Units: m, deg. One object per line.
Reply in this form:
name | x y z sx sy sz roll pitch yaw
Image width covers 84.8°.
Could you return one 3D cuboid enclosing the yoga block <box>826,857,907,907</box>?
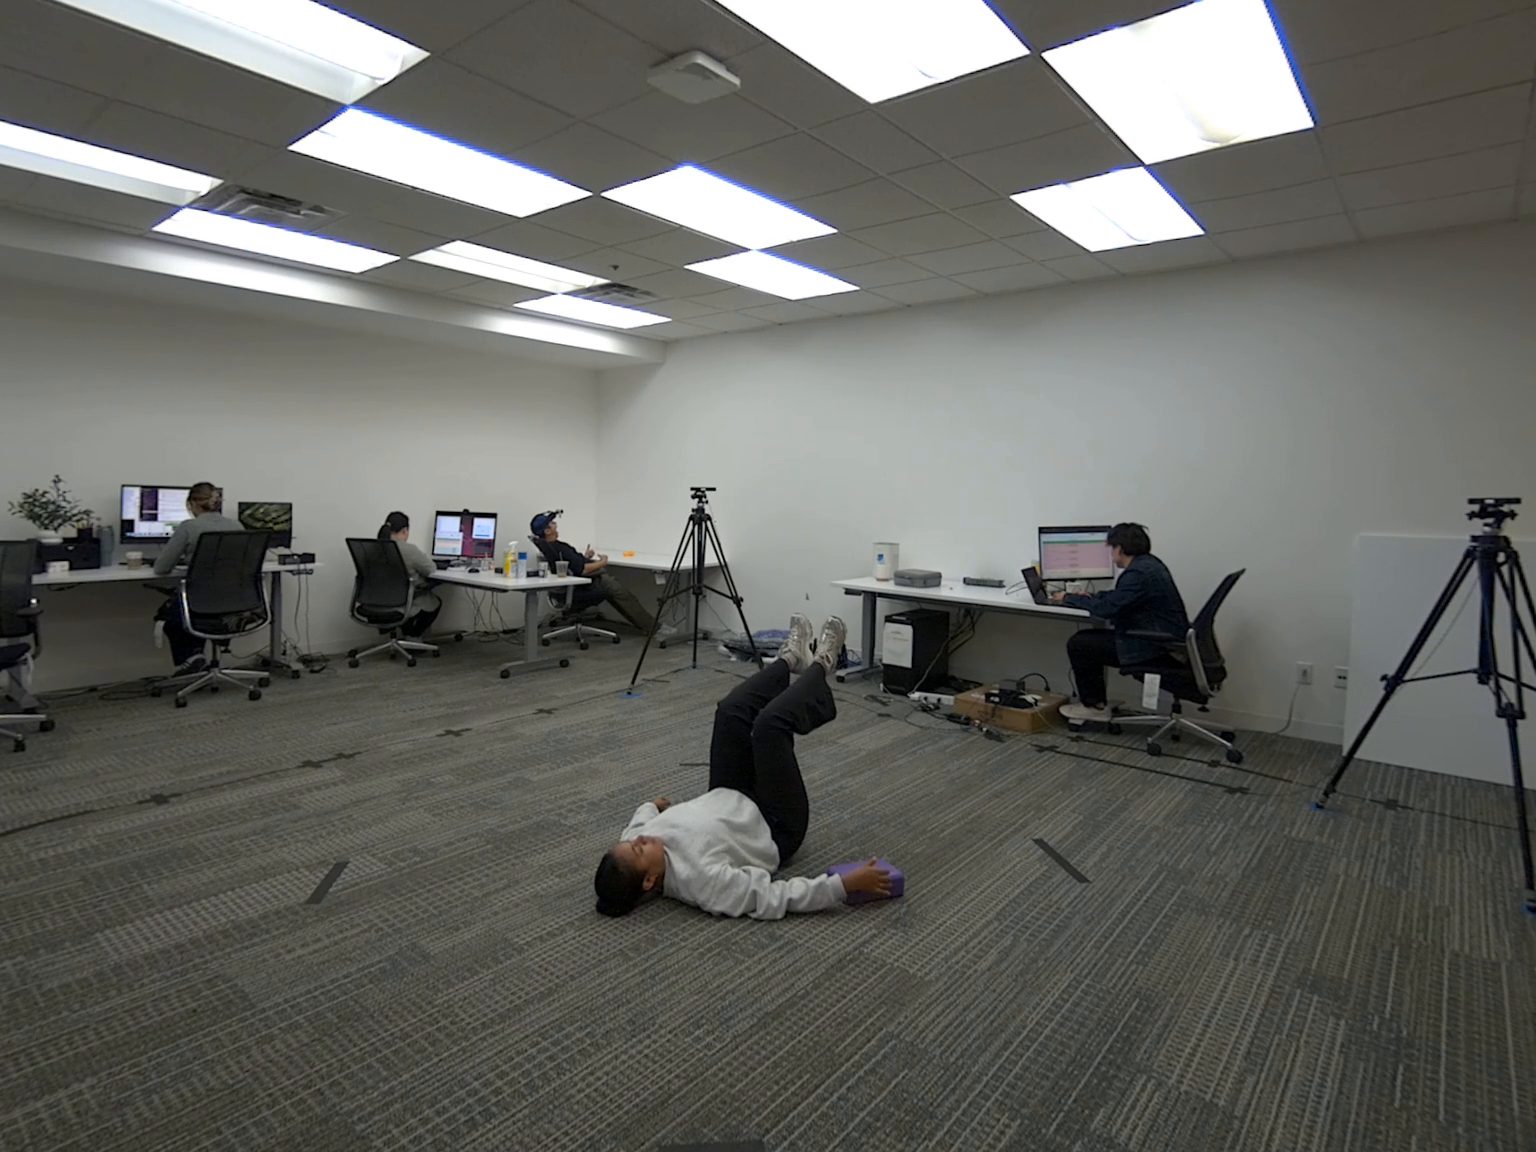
yoga block | 0.331 1.050 2.954 0.224 0.076 0.153 0 4 -23
